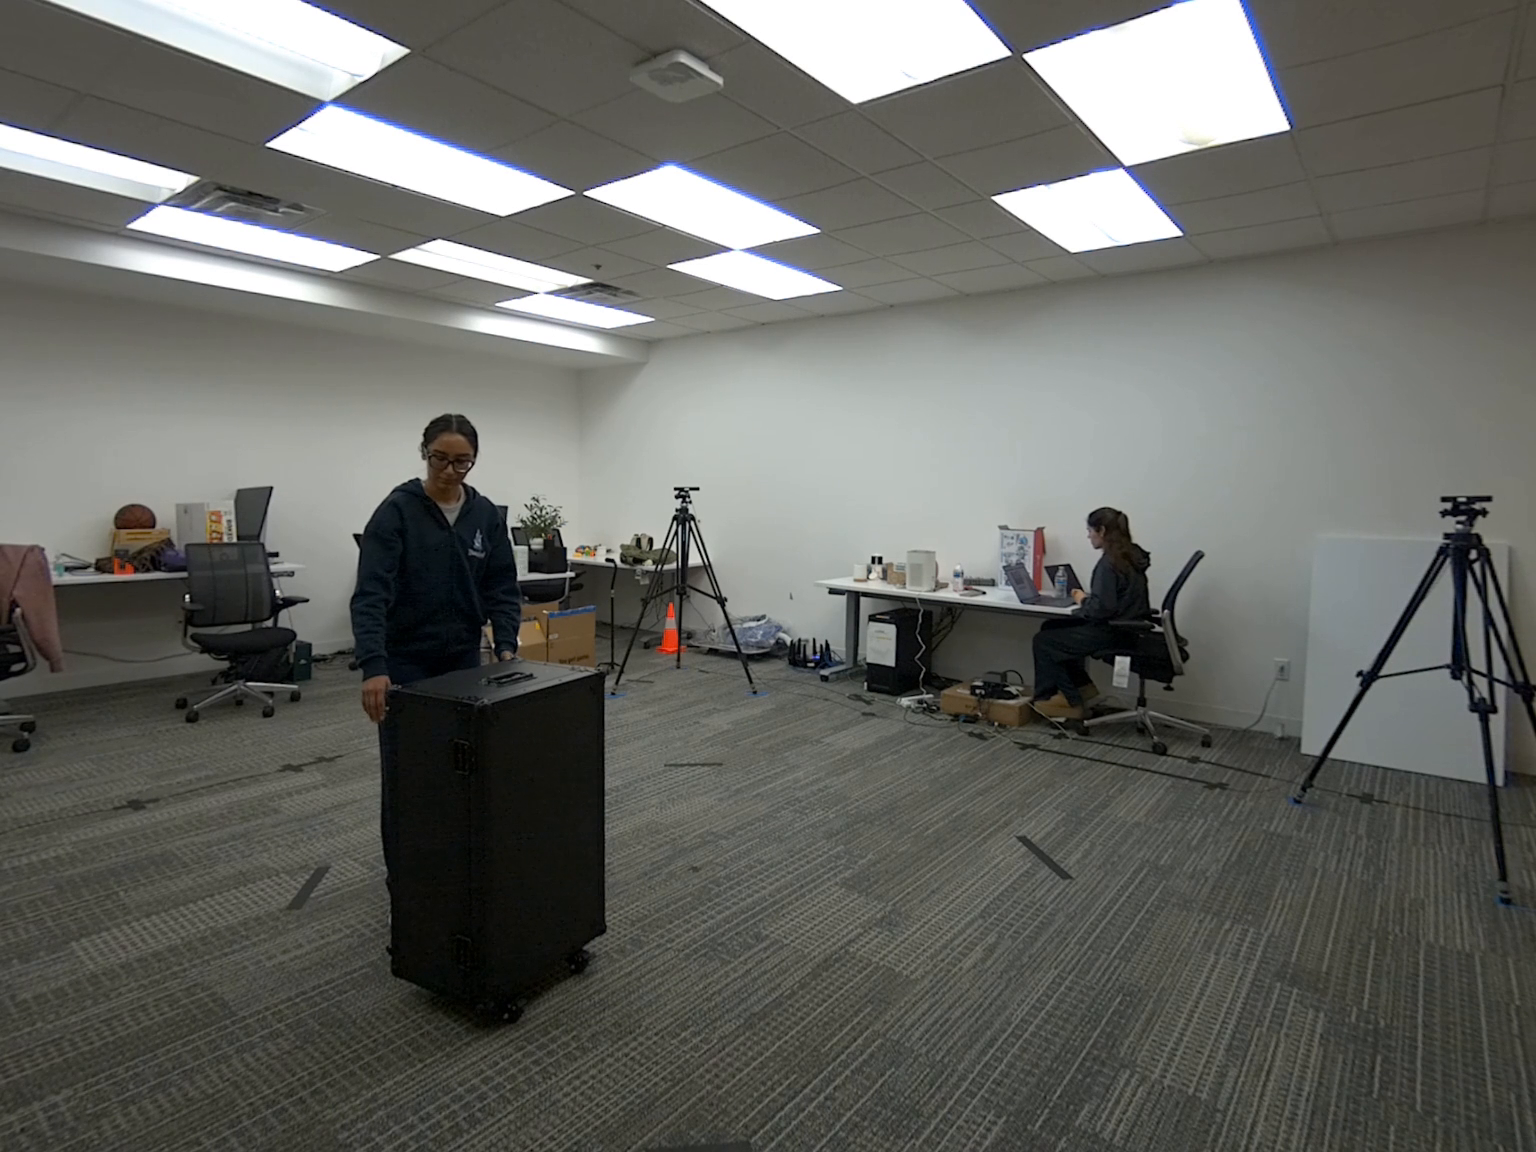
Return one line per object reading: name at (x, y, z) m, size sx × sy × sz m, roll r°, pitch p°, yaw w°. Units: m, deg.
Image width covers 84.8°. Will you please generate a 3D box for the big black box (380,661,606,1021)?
big black box at (-0.765, 0.705, 2.382) m, size 0.407 × 0.860 × 0.508 m, roll 1°, pitch 3°, yaw 30°
